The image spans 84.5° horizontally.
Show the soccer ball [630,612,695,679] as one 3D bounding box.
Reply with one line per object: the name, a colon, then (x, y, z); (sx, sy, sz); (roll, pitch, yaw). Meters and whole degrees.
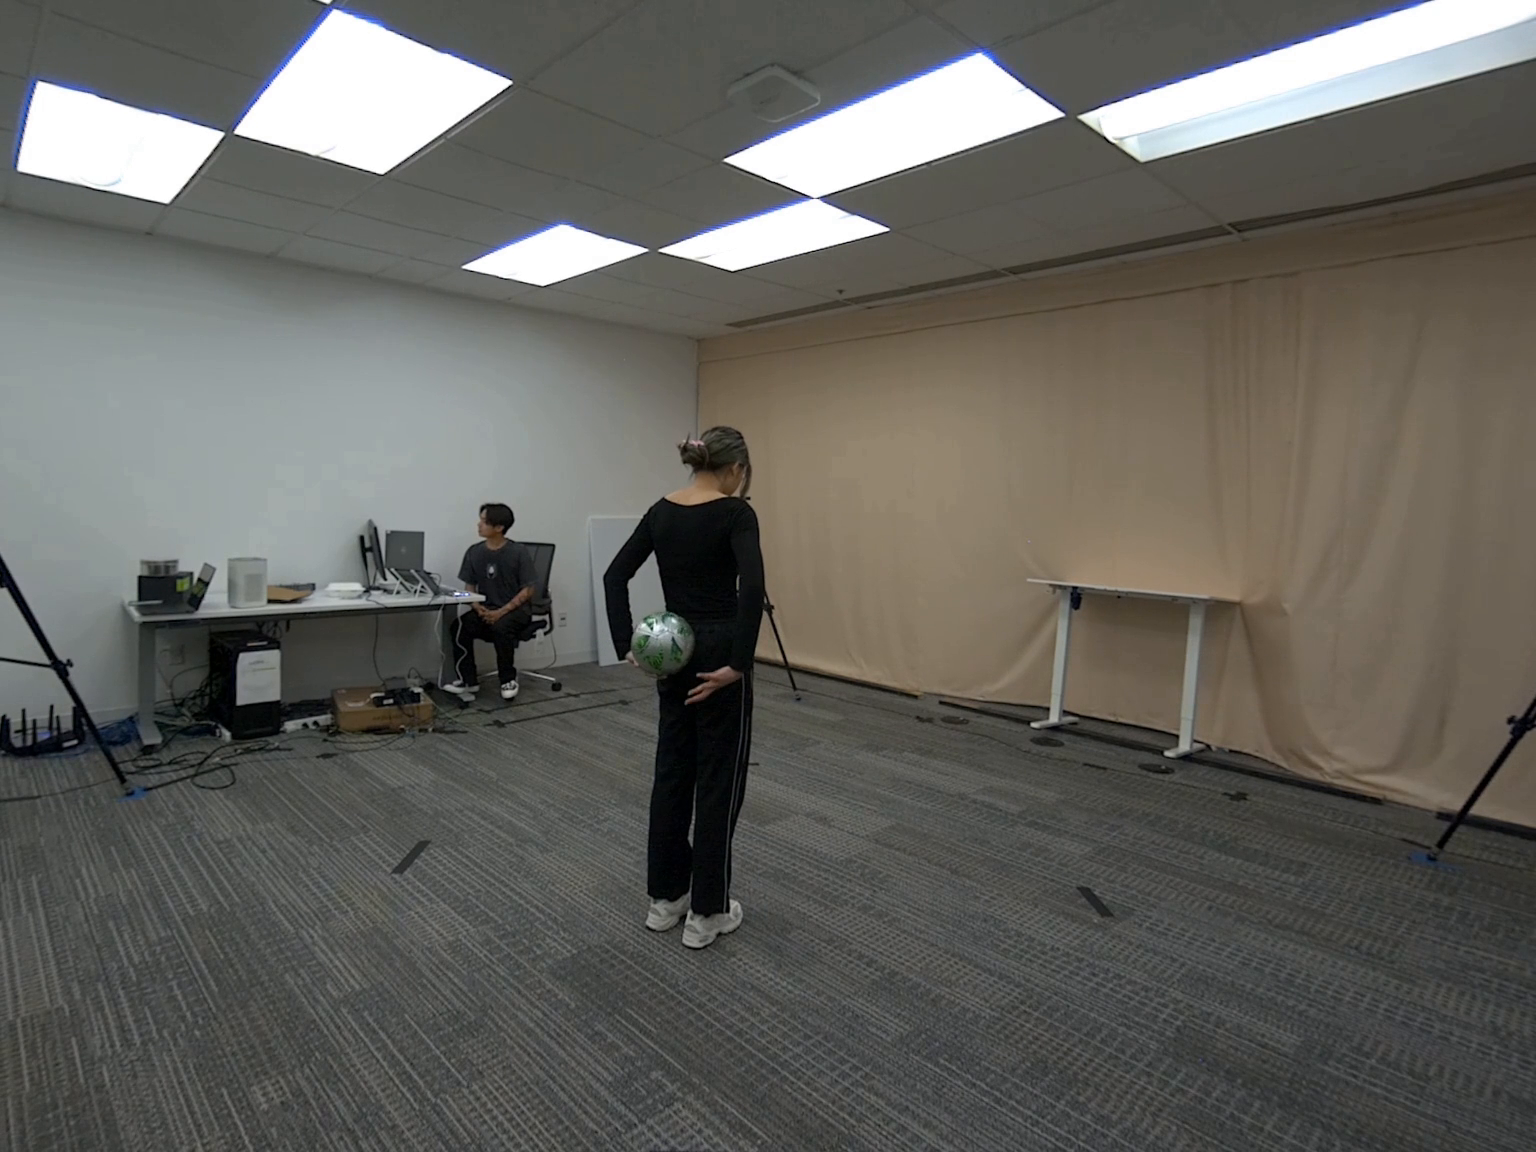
soccer ball: (-0.325, 0.201, 2.485); (0.187, 0.187, 0.188); (1, 4, -1)
